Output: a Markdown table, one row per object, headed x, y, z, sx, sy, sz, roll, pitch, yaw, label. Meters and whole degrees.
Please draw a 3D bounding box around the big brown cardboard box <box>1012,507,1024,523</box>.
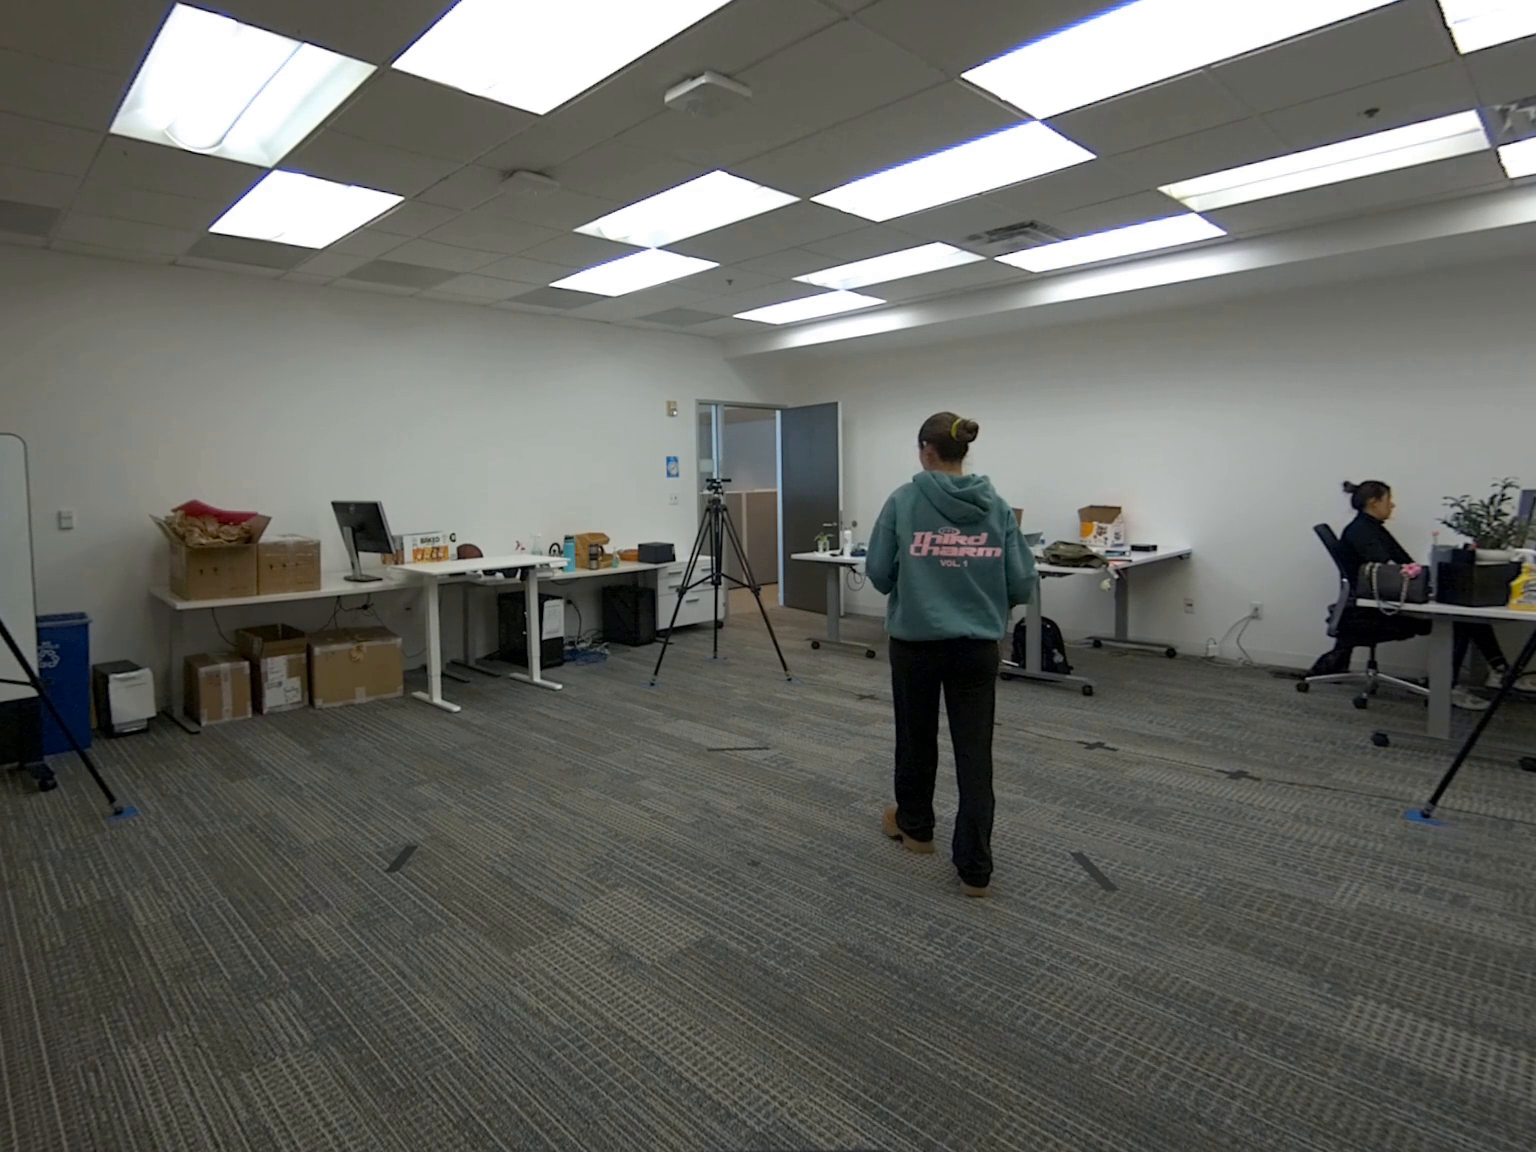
| x | y | z | sx | sy | sz | roll | pitch | yaw | label |
| --- | --- | --- | --- | --- | --- | --- | --- | --- | --- |
| 0.711 | -0.004 | 3.254 | 0.423 | 0.589 | 0.230 | 7 | 0 | 11 | big brown cardboard box |
